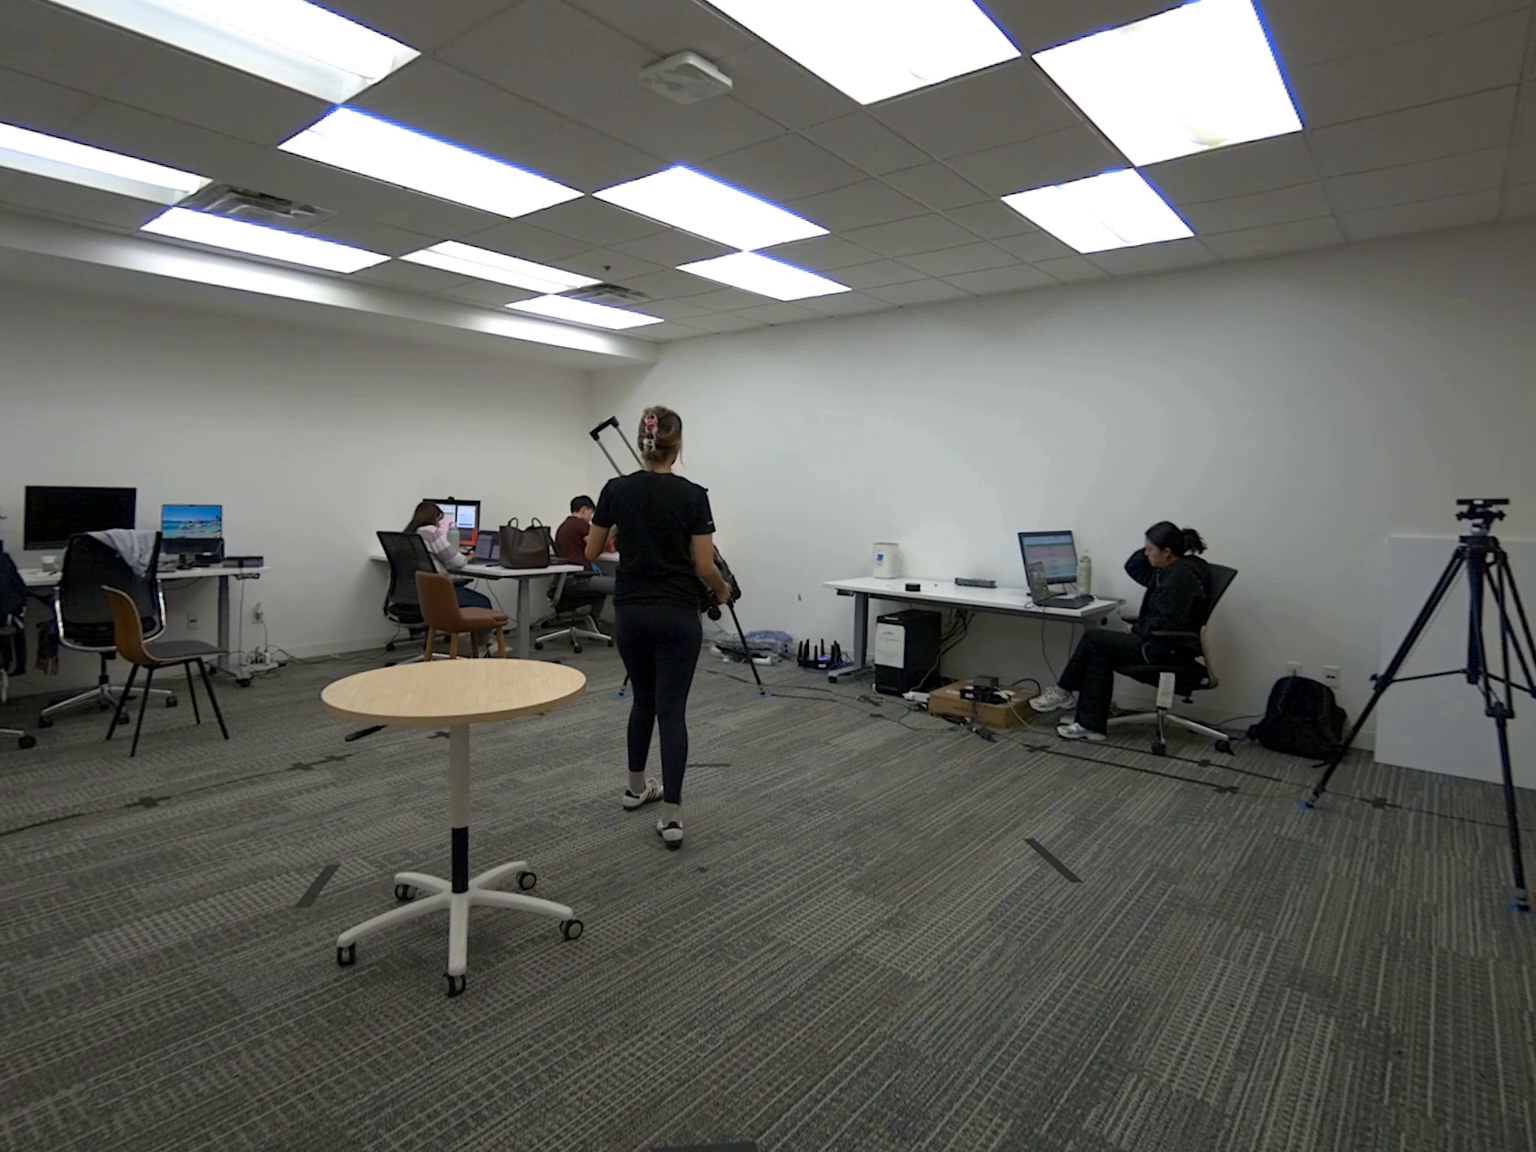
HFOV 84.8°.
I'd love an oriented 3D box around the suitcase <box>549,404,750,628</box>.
[{"bbox_3d":[-0.528,-0.226,3.769,0.391,0.968,0.255,-23,11,39],"label":"suitcase"}]
